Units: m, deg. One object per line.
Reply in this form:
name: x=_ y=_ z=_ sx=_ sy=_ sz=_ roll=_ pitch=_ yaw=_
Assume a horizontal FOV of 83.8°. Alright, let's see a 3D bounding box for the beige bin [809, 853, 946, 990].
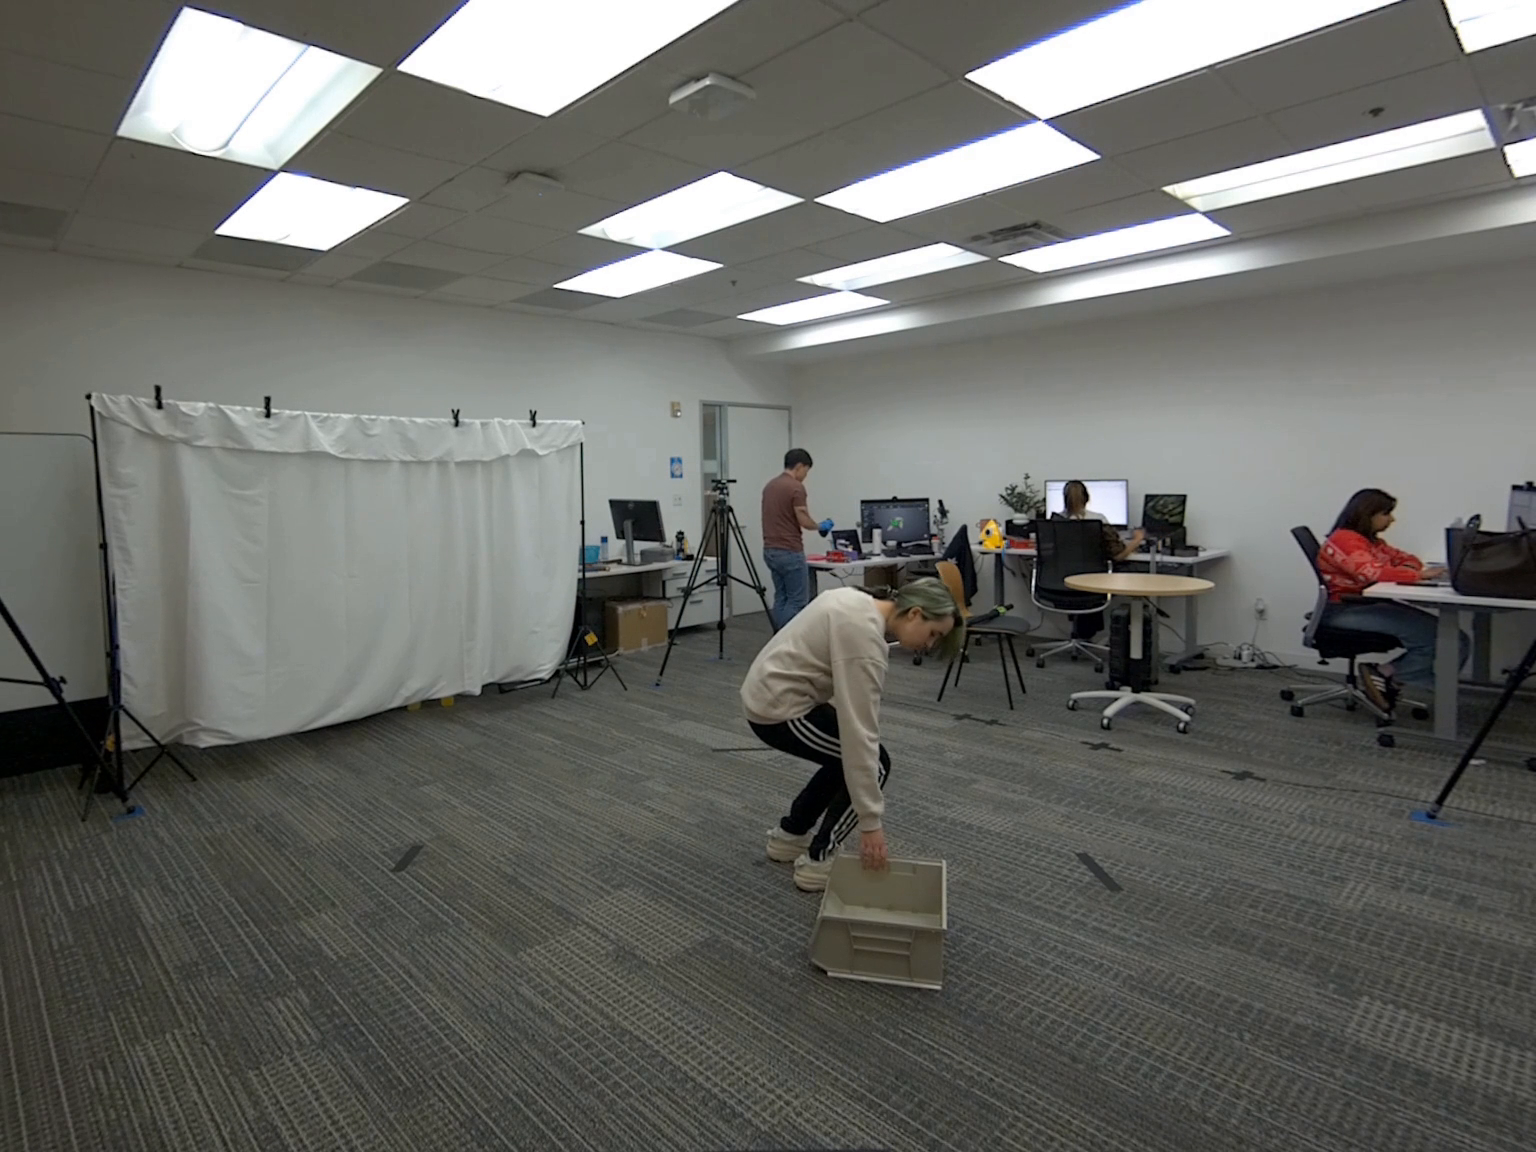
beige bin: x=0.349 y=1.017 z=2.552 sx=0.382 sy=0.188 sz=0.419 roll=1 pitch=6 yaw=12
